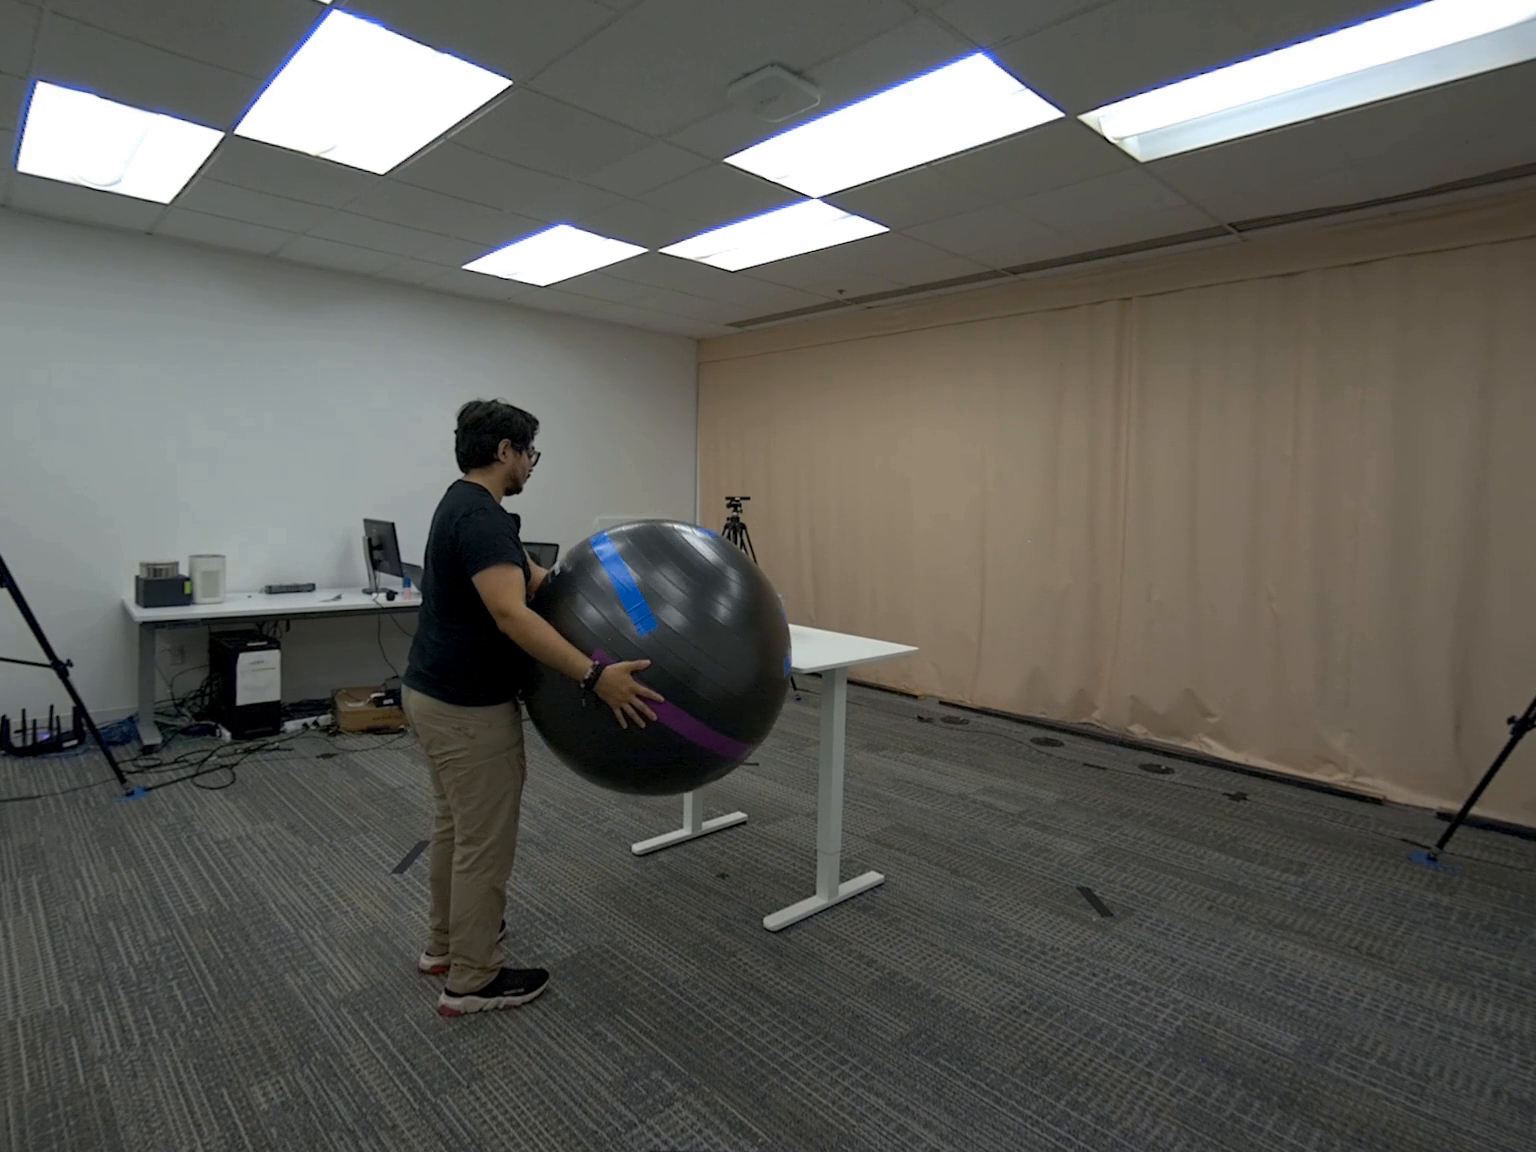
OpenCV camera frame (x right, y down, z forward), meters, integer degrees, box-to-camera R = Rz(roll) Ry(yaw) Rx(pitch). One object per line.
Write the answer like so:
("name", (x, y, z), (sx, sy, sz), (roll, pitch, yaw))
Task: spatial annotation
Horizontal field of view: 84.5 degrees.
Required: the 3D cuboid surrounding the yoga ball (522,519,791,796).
("yoga ball", (-0.312, 0.231, 2.347), (0.757, 0.756, 0.761), (1, 4, -1))
